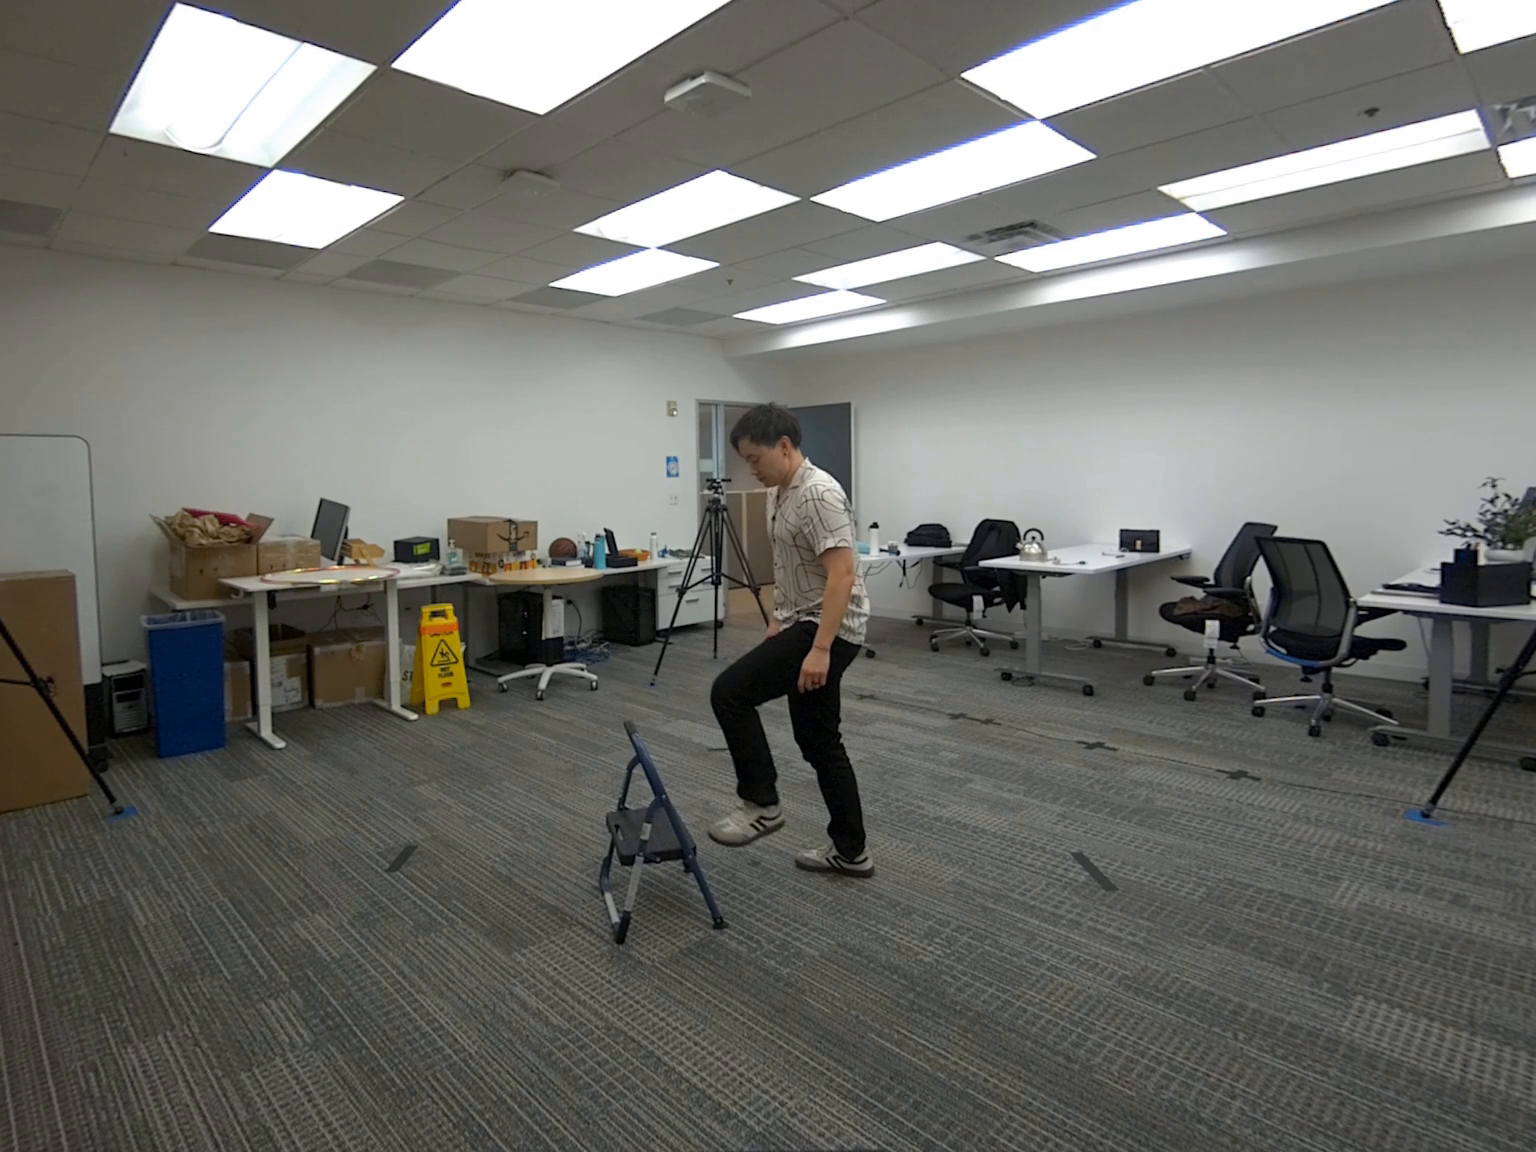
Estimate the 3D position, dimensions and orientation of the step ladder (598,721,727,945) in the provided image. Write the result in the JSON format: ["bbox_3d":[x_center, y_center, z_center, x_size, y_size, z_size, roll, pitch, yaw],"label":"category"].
[{"bbox_3d":[-0.361,0.782,2.797,0.344,0.604,0.439,-2,5,-18],"label":"step ladder"}]
